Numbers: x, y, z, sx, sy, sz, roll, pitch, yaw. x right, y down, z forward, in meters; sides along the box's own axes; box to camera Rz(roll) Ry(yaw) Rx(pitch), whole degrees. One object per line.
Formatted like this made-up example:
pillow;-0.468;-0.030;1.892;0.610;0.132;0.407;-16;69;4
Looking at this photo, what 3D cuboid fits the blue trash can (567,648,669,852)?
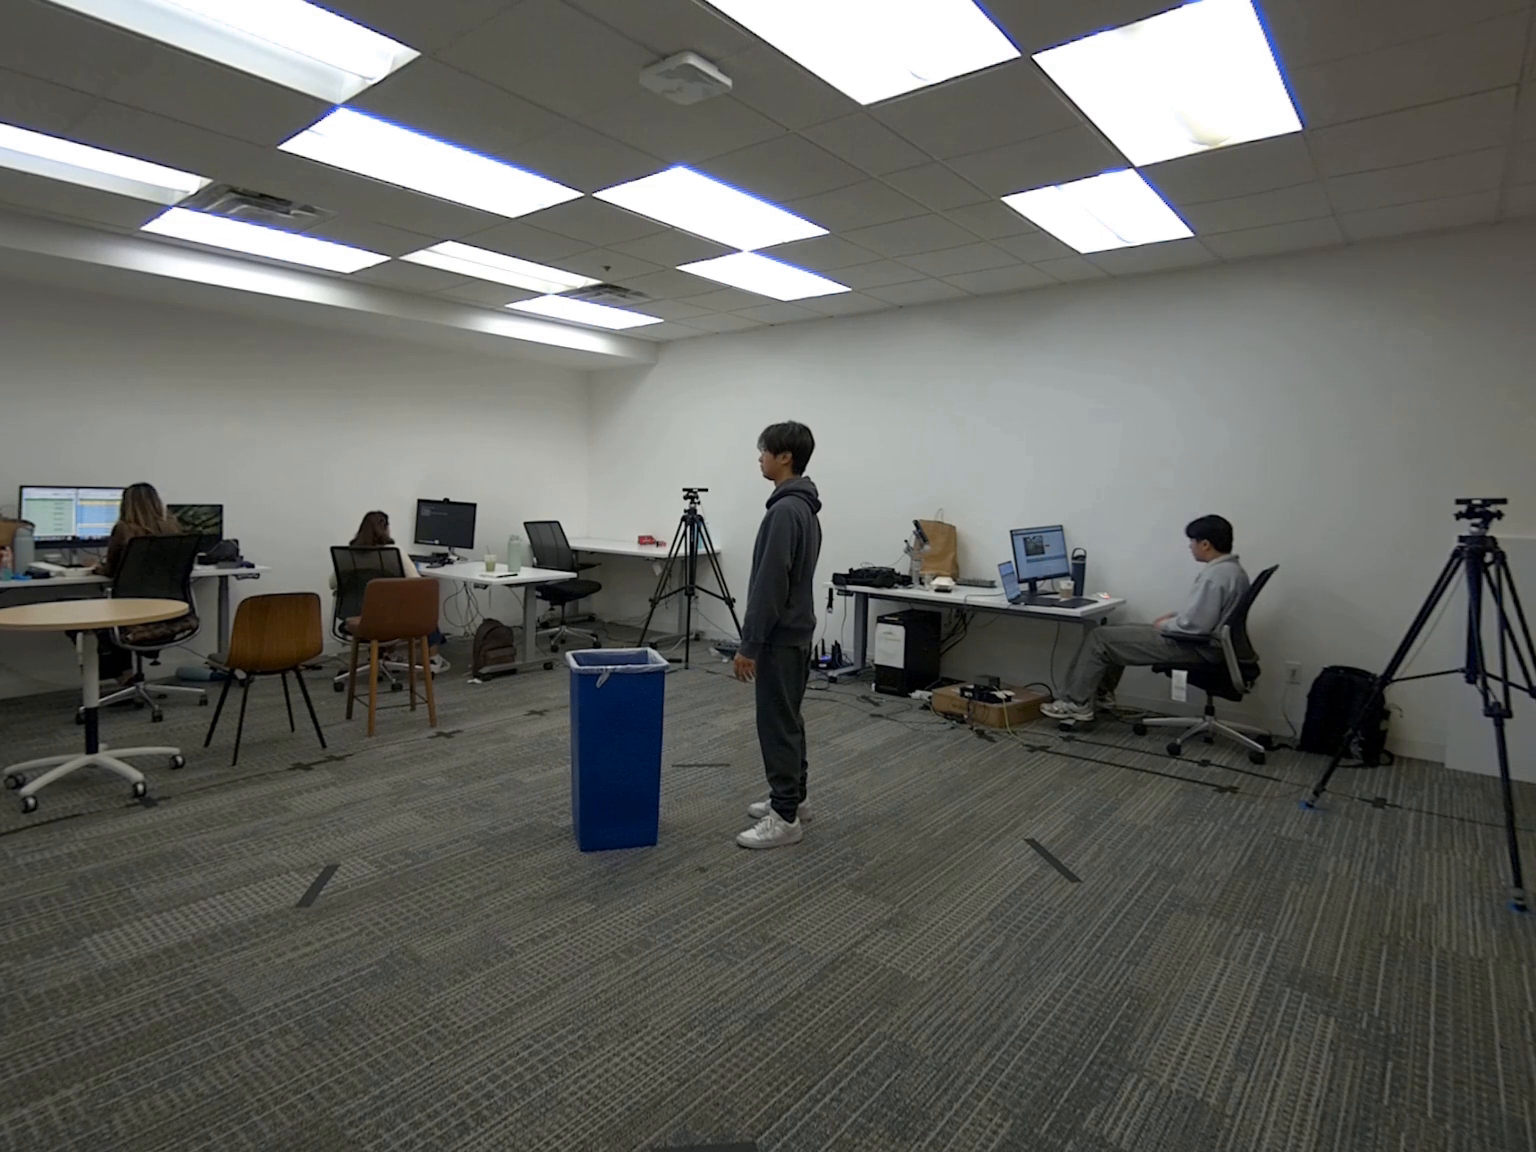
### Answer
blue trash can;-0.627;0.675;3.408;0.372;0.712;0.381;0;3;-17
